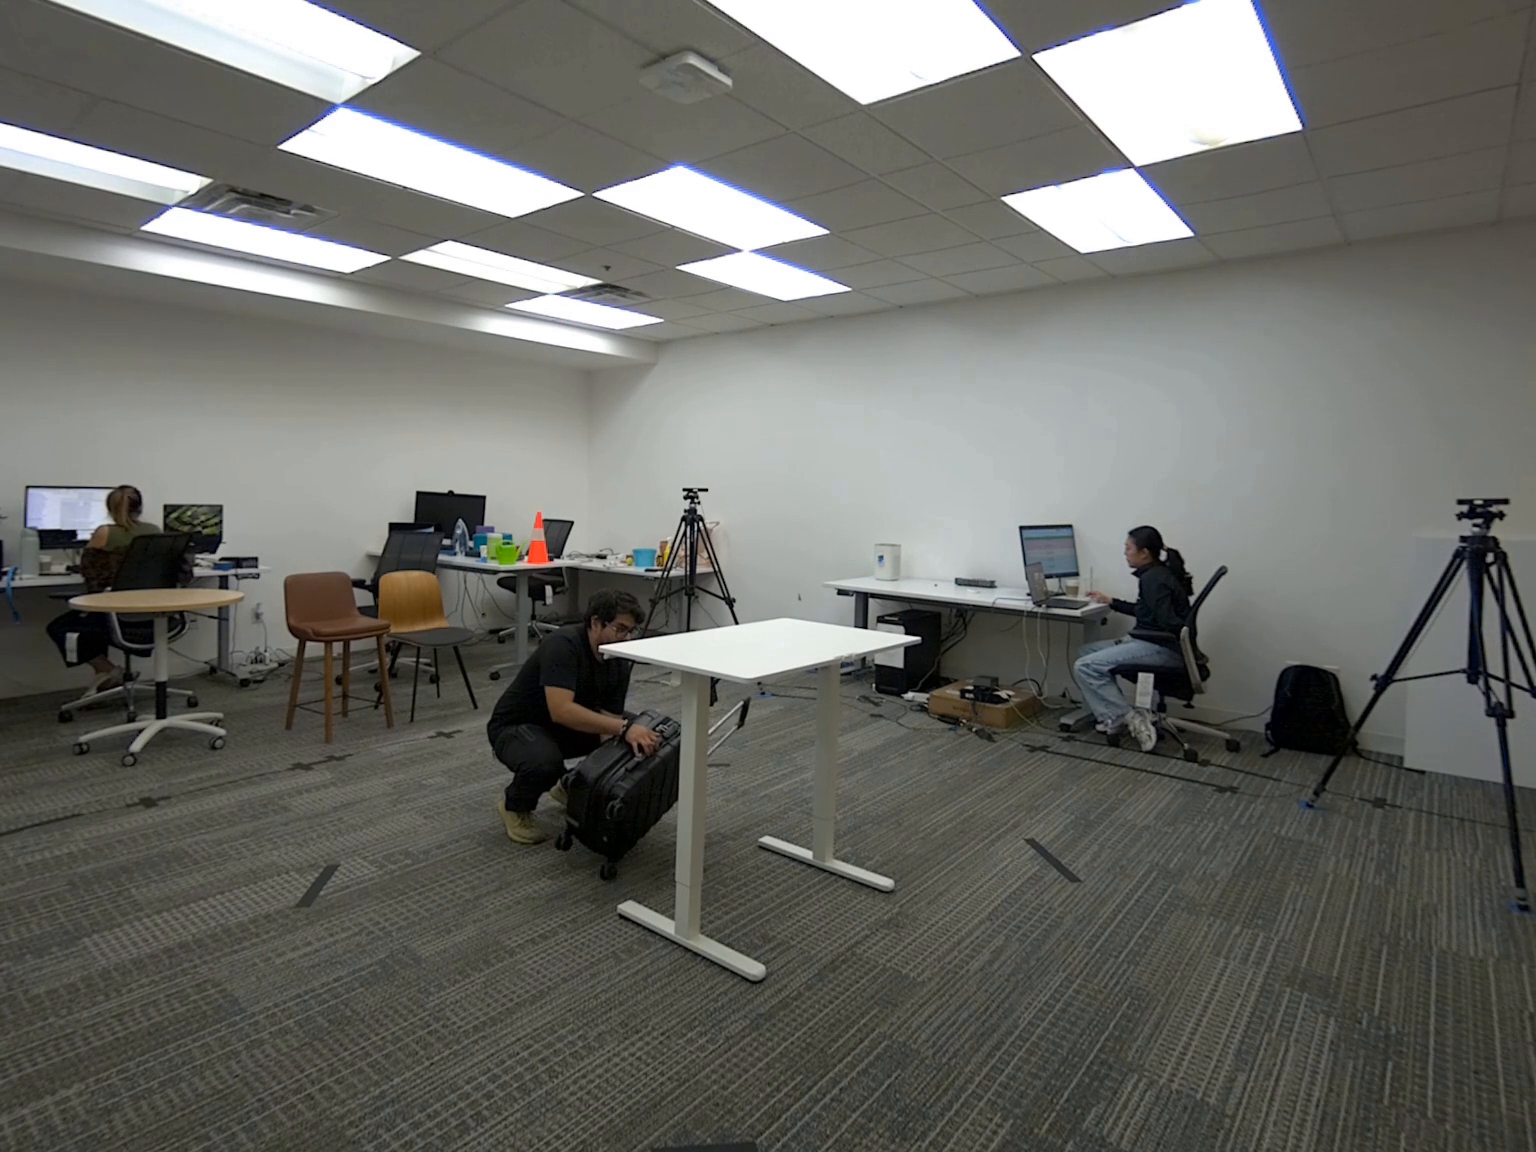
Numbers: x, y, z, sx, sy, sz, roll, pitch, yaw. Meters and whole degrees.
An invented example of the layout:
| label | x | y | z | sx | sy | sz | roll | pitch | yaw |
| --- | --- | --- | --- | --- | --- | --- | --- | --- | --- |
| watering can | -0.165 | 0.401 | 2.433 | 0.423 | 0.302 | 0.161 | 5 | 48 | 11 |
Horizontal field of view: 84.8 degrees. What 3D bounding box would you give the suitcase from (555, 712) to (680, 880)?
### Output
| label | x | y | z | sx | sy | sz | roll | pitch | yaw |
| --- | --- | --- | --- | --- | --- | --- | --- | --- | --- |
| suitcase | -0.431 | 0.707 | 3.344 | 0.264 | 0.377 | 0.969 | 20 | 30 | 21 |
